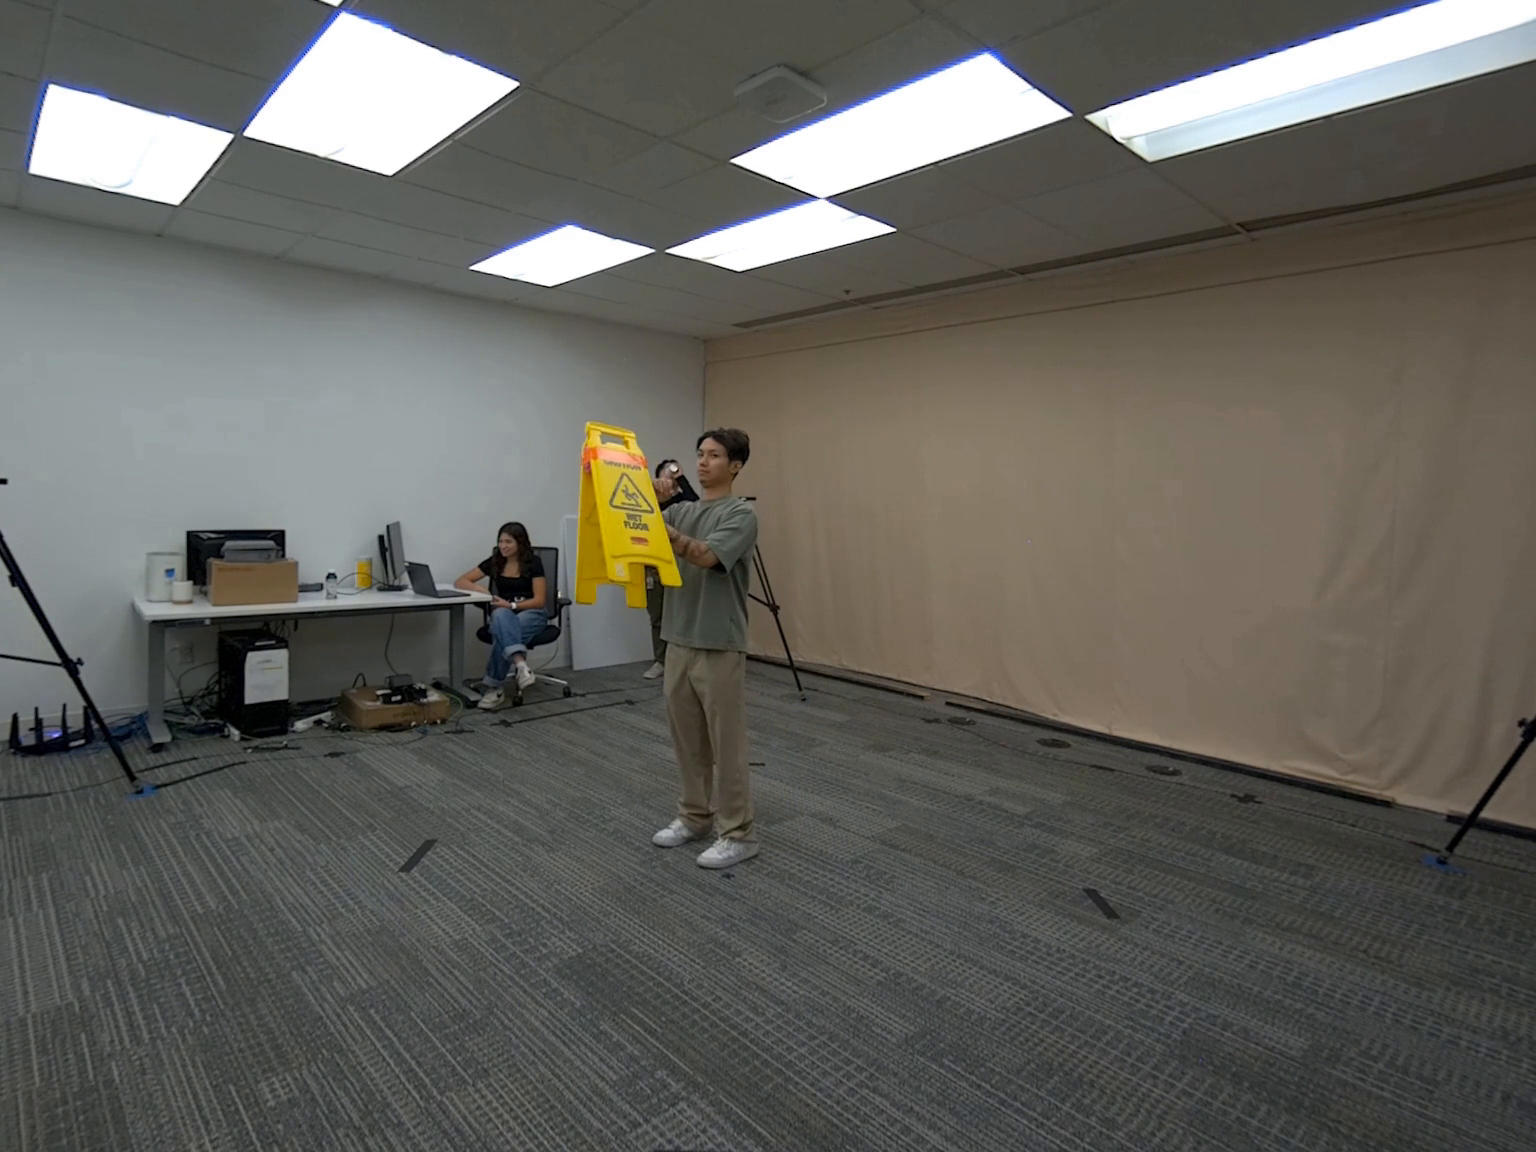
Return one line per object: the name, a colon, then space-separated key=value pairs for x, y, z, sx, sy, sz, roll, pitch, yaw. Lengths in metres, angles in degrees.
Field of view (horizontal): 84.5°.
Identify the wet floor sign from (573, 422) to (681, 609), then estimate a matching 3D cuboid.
wet floor sign: x=-0.533 y=-0.239 z=2.949 sx=0.275 sy=0.657 sz=0.292 roll=9 pitch=-28 yaw=-39
